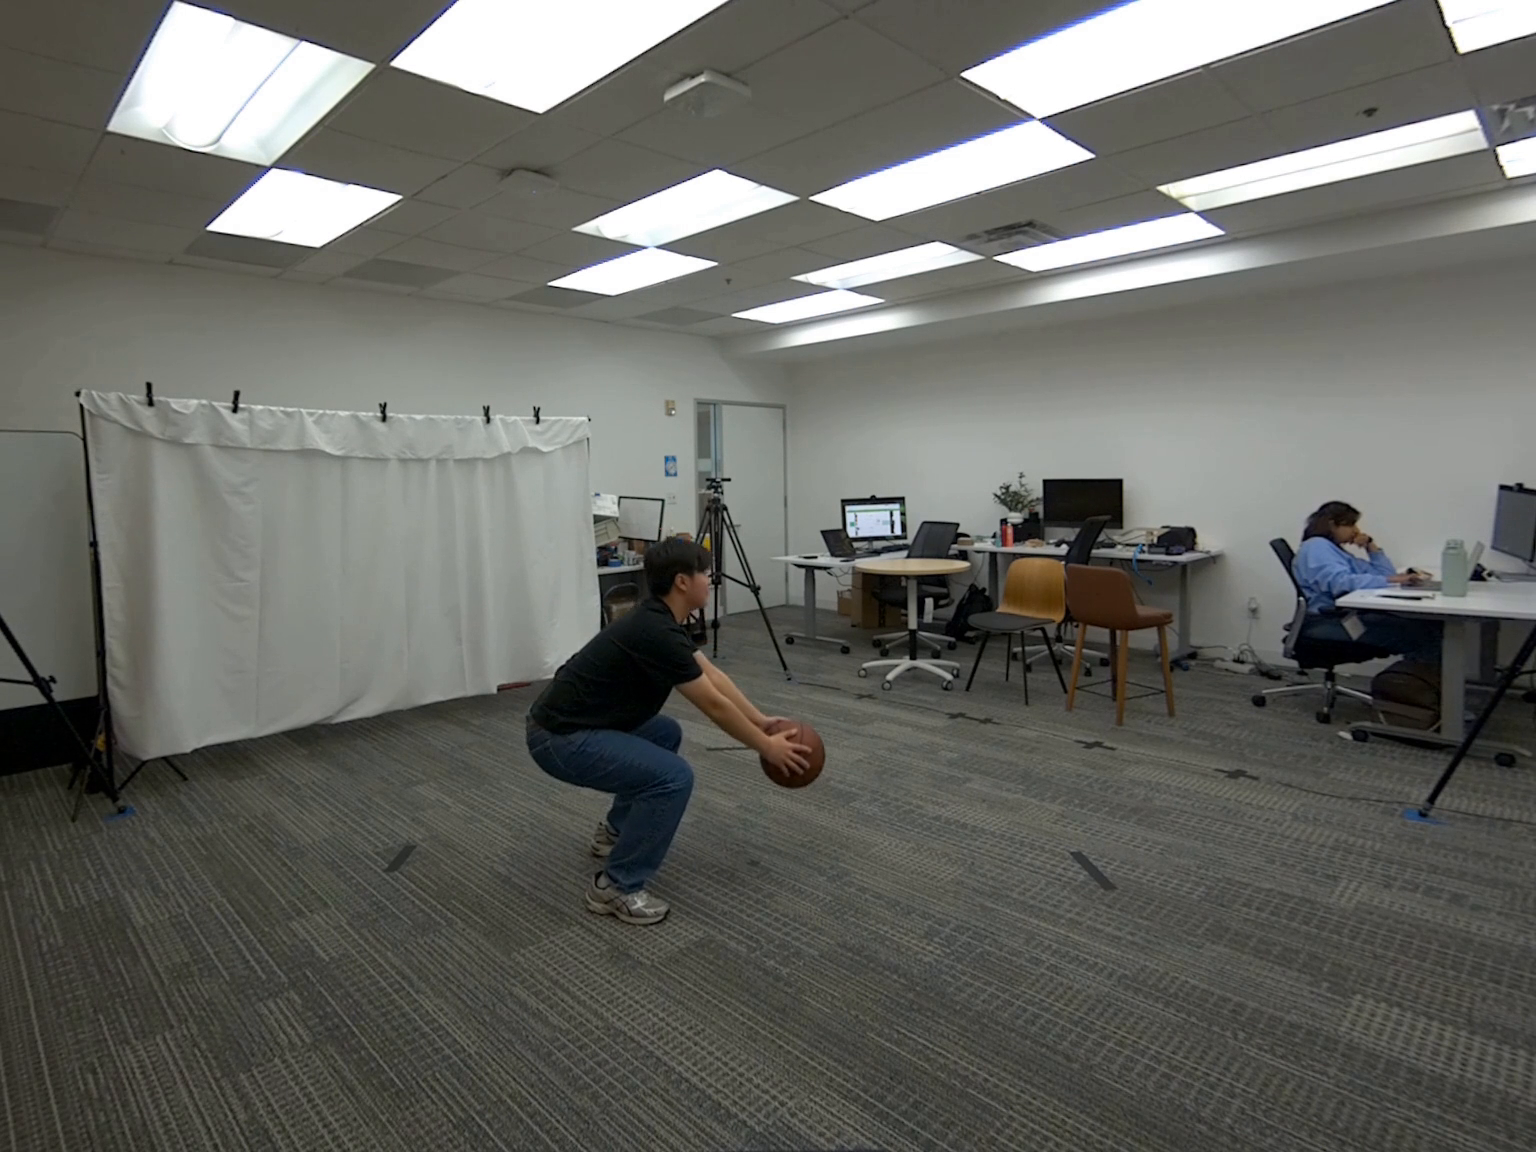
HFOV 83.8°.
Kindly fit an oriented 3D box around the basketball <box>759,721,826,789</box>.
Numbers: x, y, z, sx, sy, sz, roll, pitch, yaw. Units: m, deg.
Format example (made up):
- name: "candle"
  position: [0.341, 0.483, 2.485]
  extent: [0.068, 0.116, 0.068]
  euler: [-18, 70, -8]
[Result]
- name: "basketball"
  position: [0.087, 0.628, 3.079]
  extent: [0.236, 0.235, 0.237]
  euler: [-1, 5, -2]
